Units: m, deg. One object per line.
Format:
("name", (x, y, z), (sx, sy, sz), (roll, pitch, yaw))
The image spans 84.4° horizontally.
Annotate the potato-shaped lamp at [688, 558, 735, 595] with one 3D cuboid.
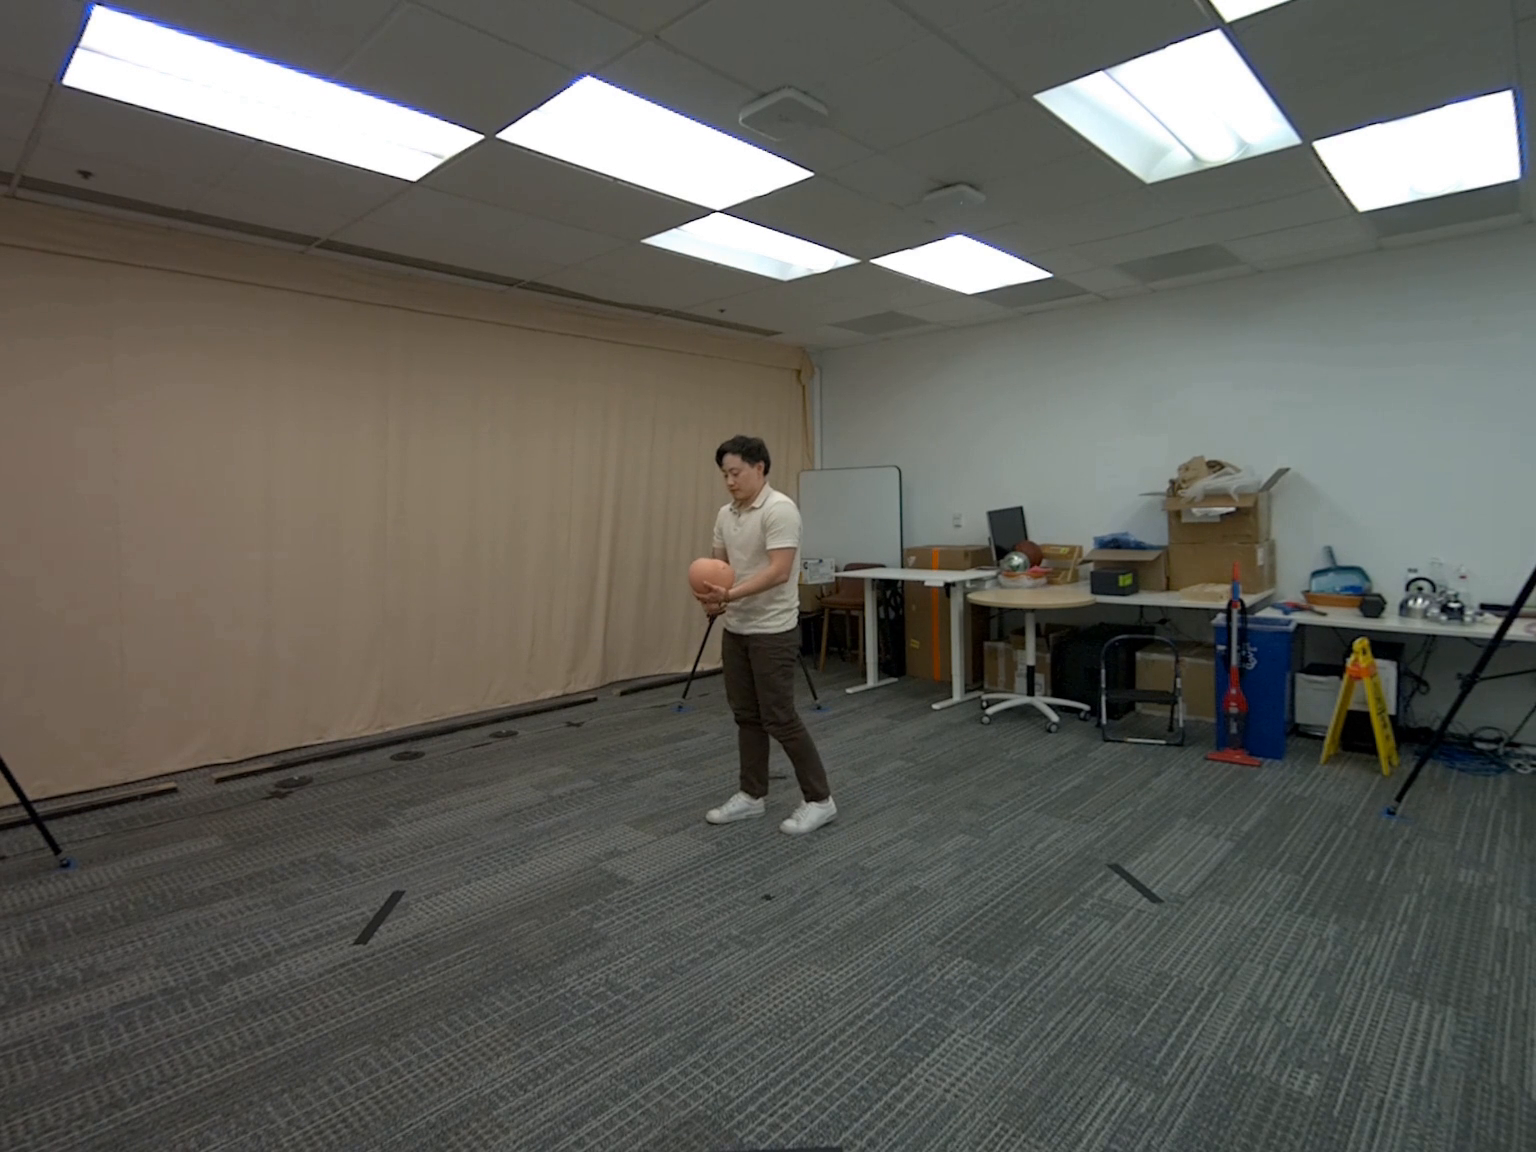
("potato-shaped lamp", (-0.231, 0.004, 3.469), (0.170, 0.172, 0.191), (7, -20, 34))
